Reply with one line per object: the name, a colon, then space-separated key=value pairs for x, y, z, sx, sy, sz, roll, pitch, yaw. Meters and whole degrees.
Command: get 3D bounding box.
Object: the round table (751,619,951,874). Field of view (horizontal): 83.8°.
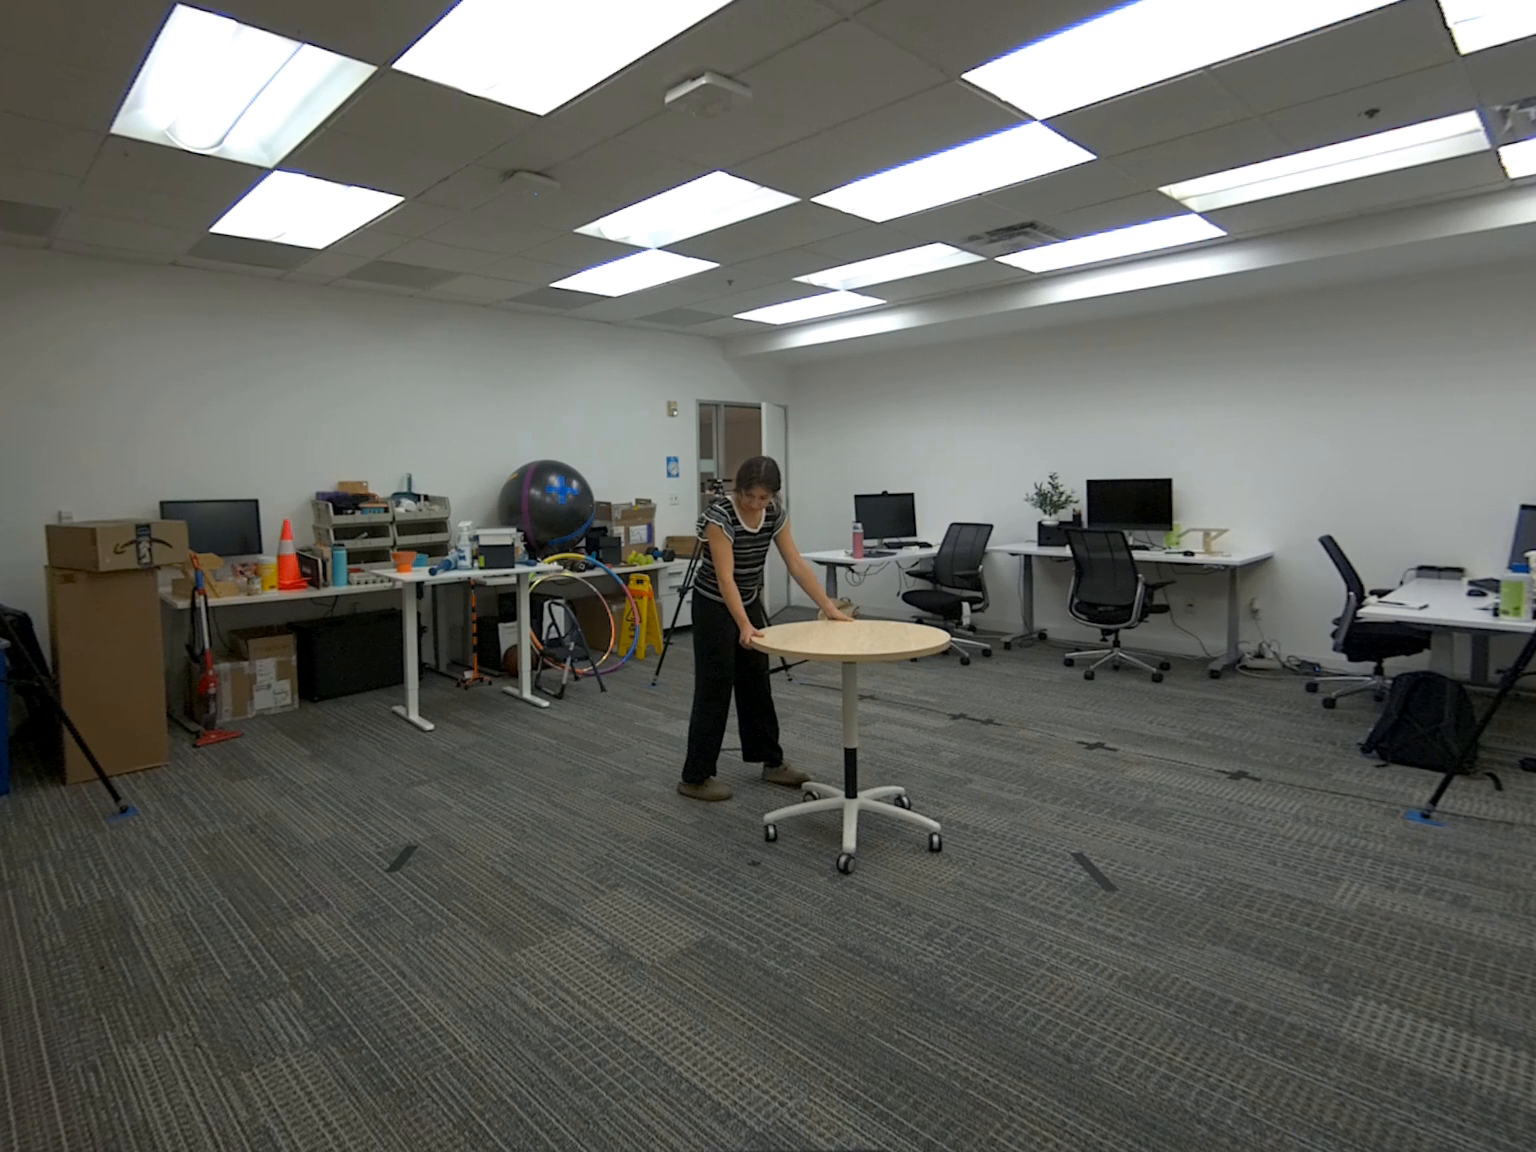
round table: x=0.325 y=0.624 z=3.341 sx=0.763 sy=0.791 sz=0.767 roll=-1 pitch=4 yaw=-2
